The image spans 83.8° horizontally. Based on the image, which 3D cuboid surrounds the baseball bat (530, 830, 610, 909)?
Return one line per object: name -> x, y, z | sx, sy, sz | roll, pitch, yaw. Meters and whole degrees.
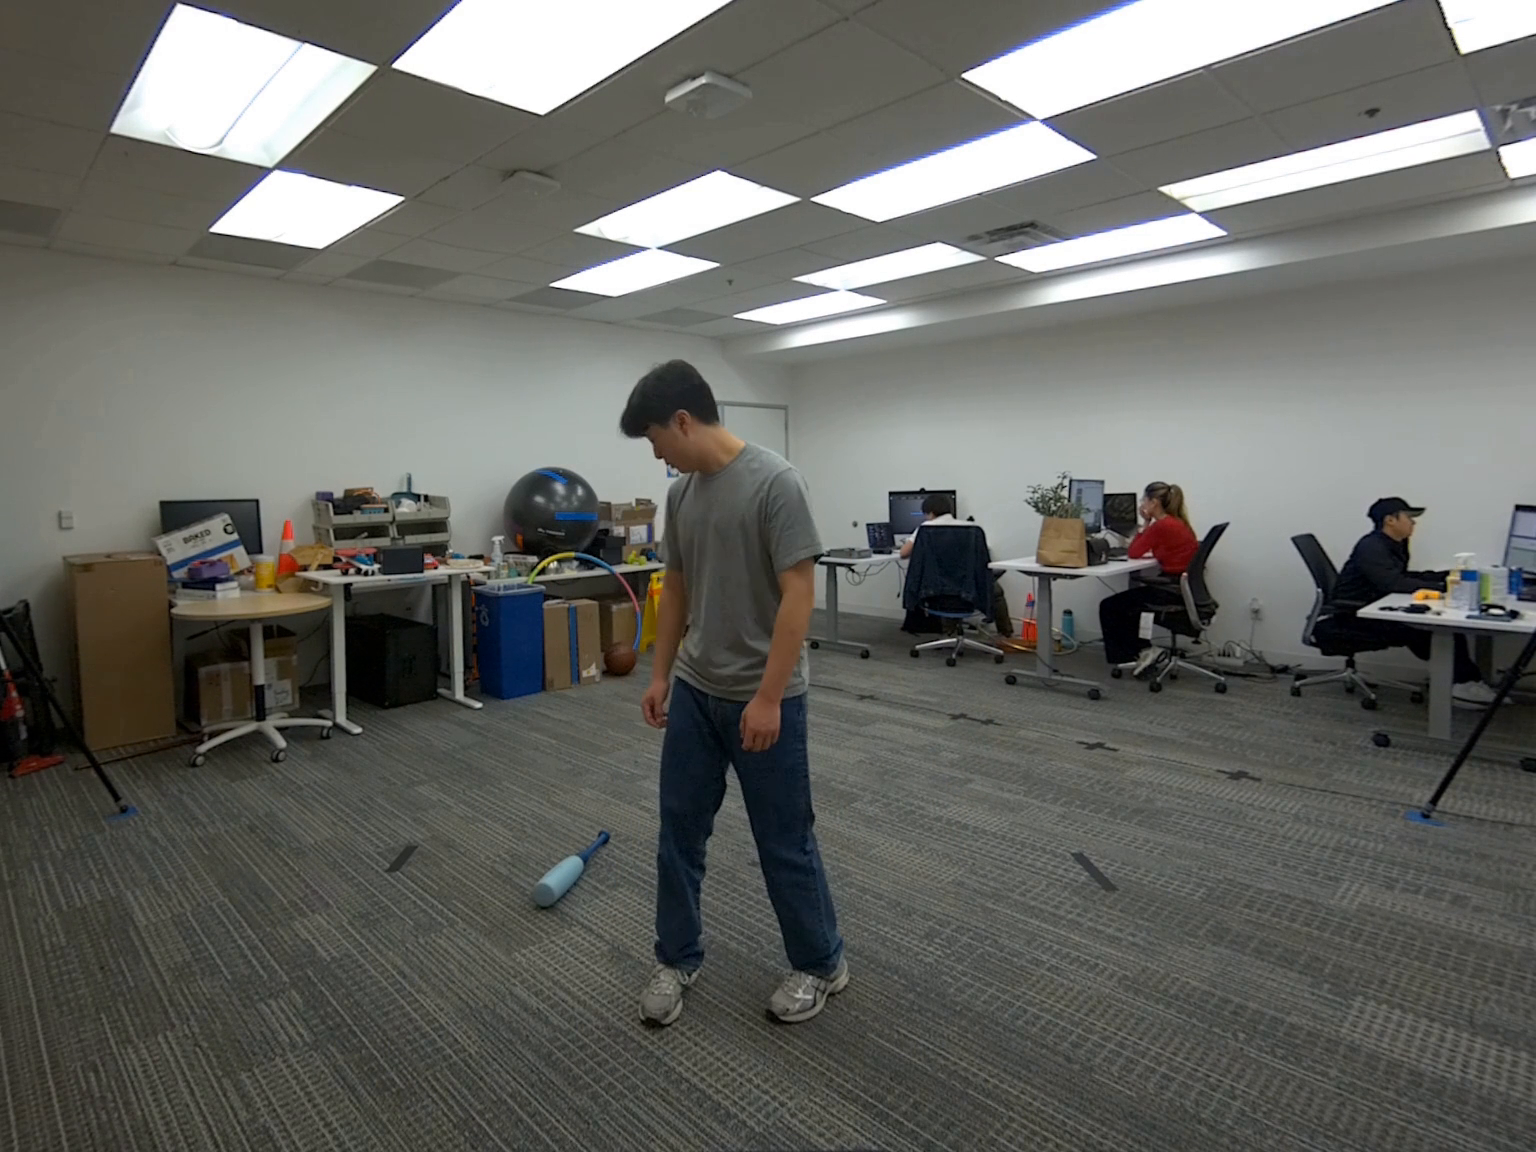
baseball bat -> -0.680, 1.027, 3.050 | 0.090, 0.089, 0.538 | 0, 4, 11
